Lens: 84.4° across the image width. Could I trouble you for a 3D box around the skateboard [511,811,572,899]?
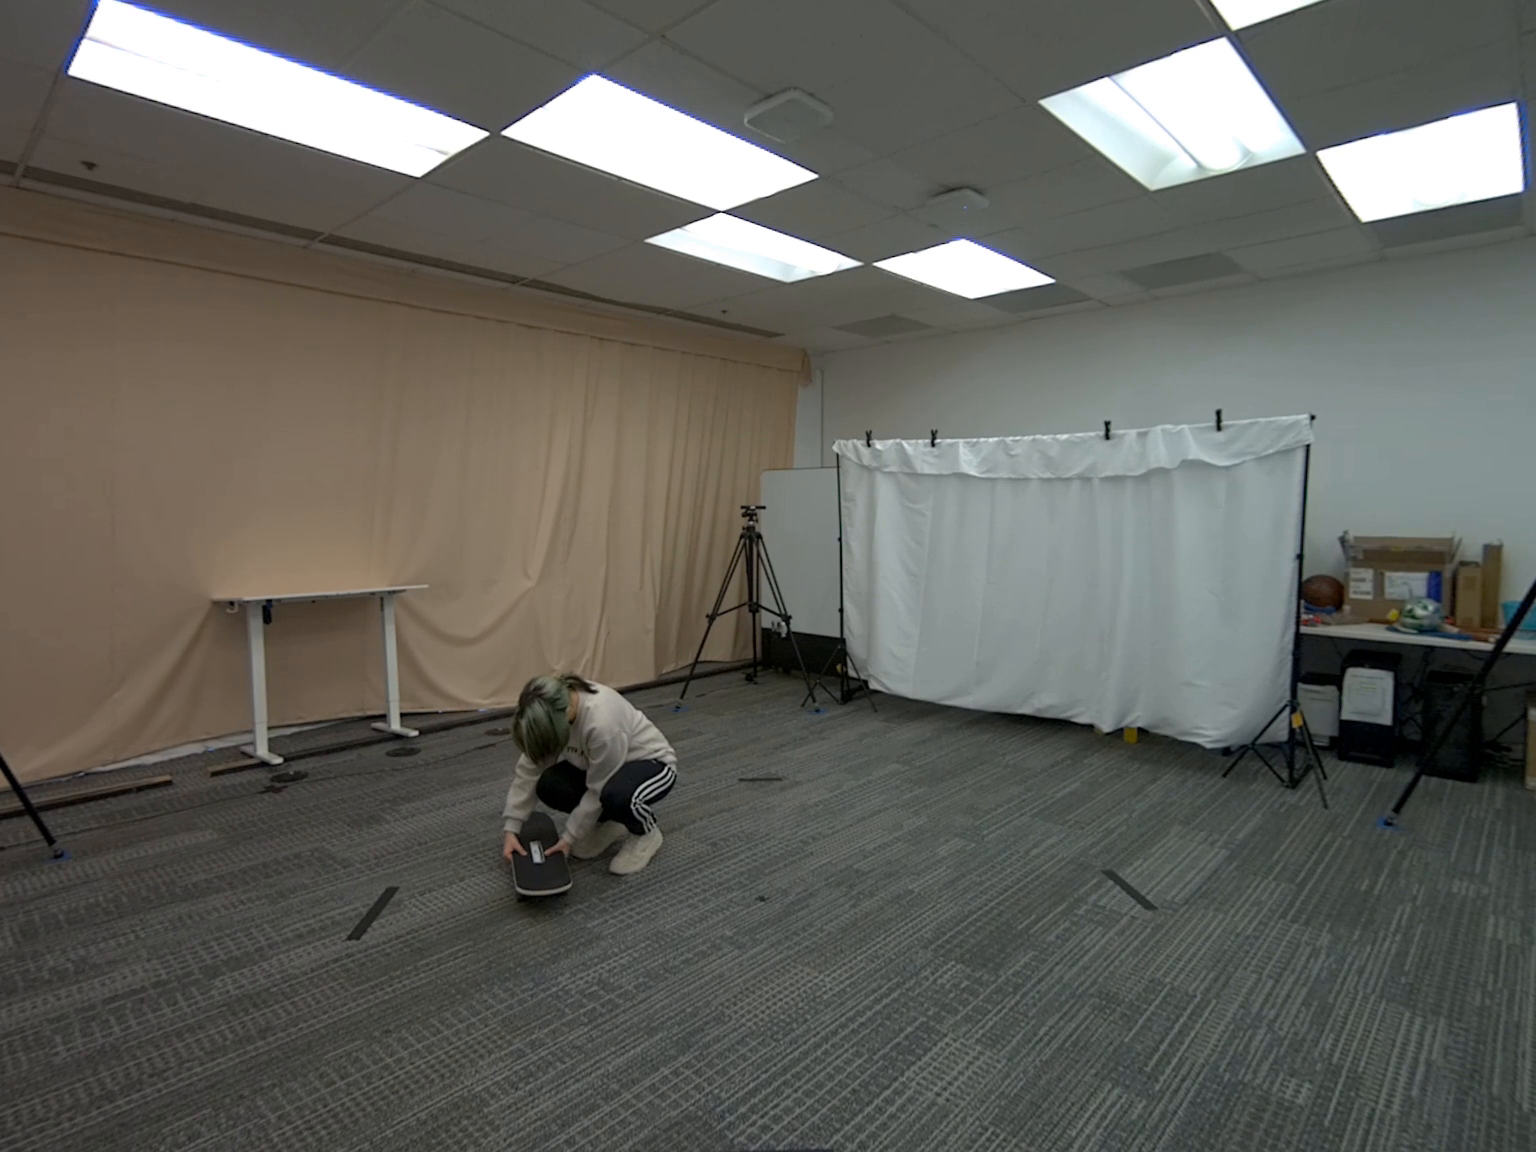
[{"bbox_3d":[-0.876,1.073,3.198,0.190,0.110,0.801,-2,5,-18],"label":"skateboard"}]
